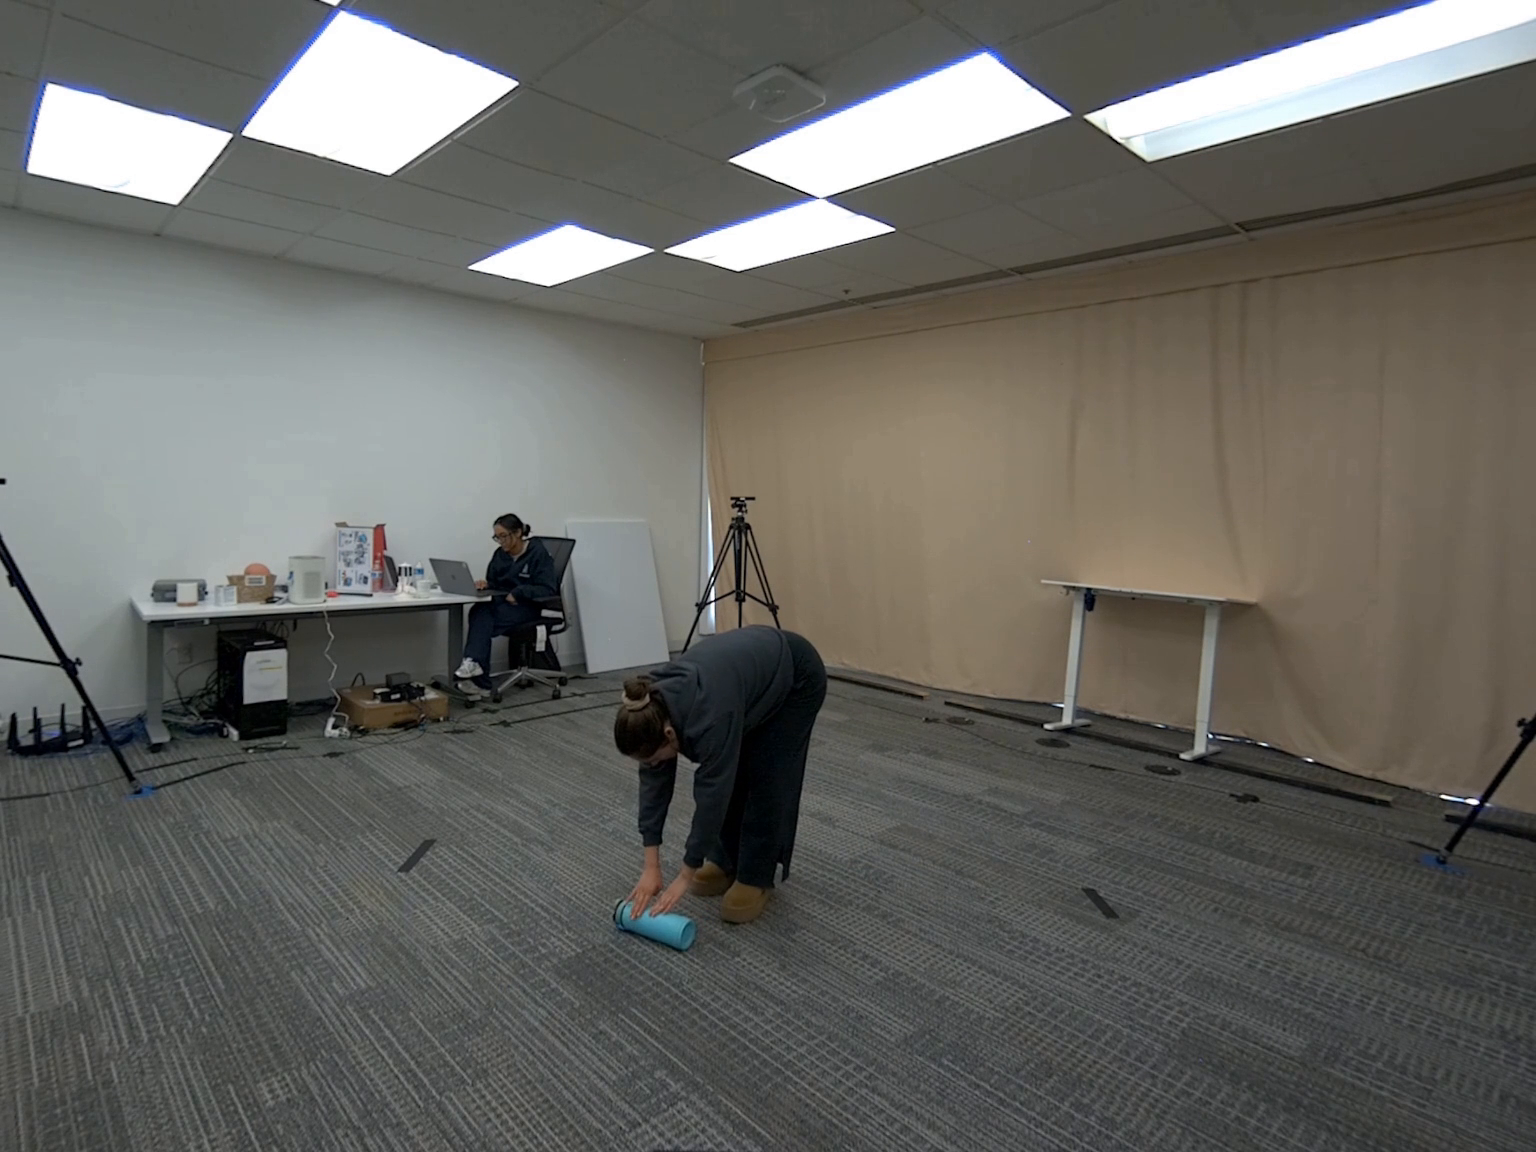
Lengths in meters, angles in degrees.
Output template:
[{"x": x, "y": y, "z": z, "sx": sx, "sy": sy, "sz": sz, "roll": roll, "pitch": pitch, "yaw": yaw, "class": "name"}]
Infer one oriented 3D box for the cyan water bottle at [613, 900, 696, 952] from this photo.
[{"x": -0.371, "y": 1.099, "z": 2.662, "sx": 0.289, "sy": 0.092, "sz": 0.091, "roll": 4, "pitch": 6, "yaw": 28, "class": "cyan water bottle"}]
